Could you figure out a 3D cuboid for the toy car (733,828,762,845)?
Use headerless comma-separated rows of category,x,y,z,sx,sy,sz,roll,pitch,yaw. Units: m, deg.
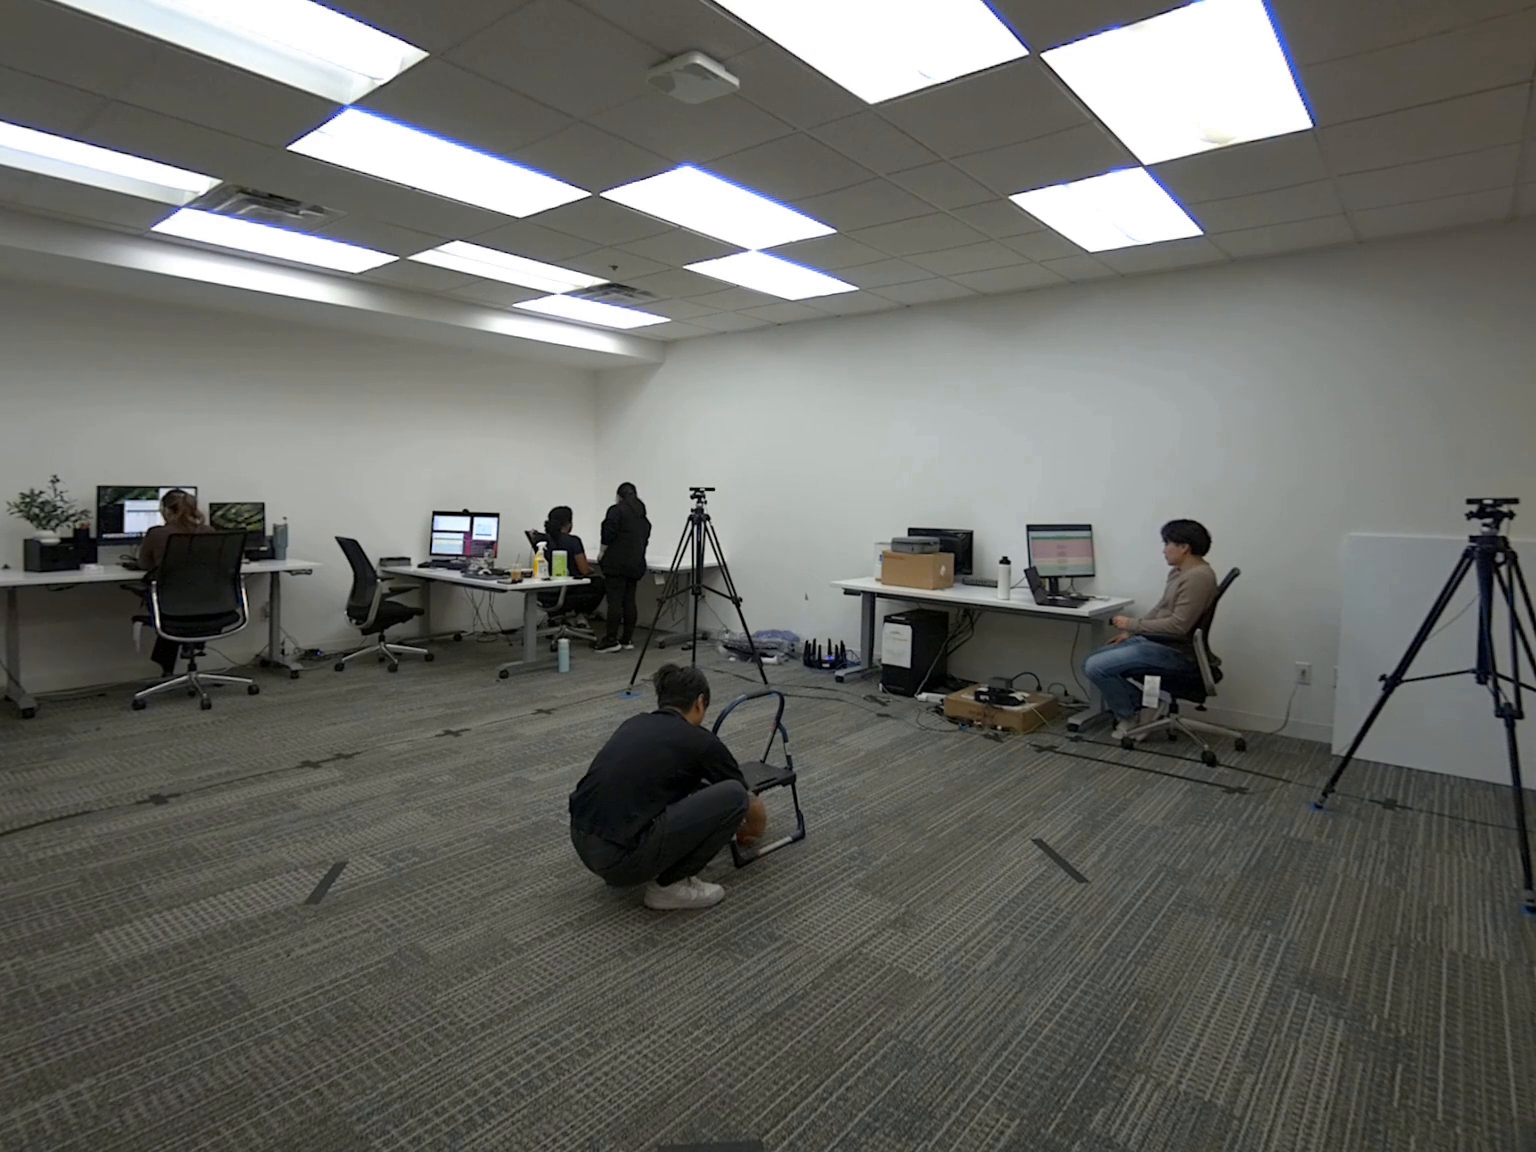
toy car,-0.173,1.012,3.391,0.260,0.083,0.127,-8,-2,26
